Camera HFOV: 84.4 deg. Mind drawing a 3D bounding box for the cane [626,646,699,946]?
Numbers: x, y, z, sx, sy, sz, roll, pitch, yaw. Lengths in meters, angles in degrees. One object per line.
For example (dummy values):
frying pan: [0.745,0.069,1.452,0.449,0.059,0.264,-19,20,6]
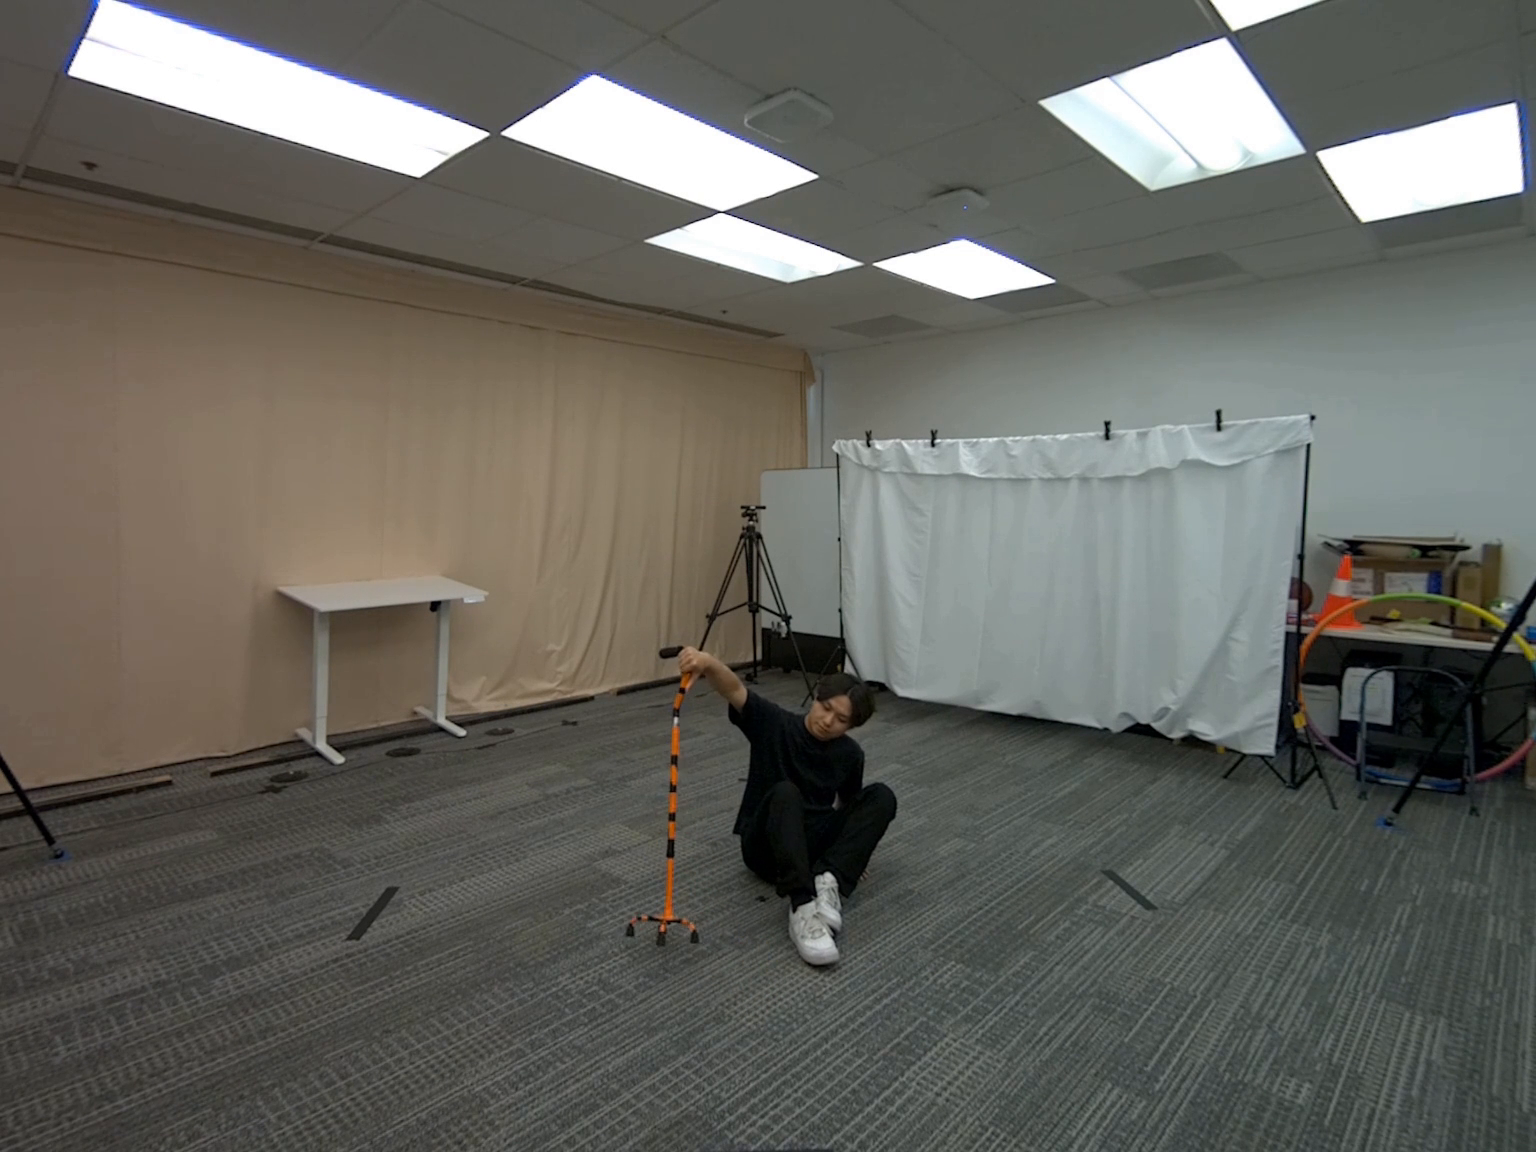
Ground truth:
cane: [-0.311,0.690,2.711,0.146,0.916,0.211,13,-19,-38]
